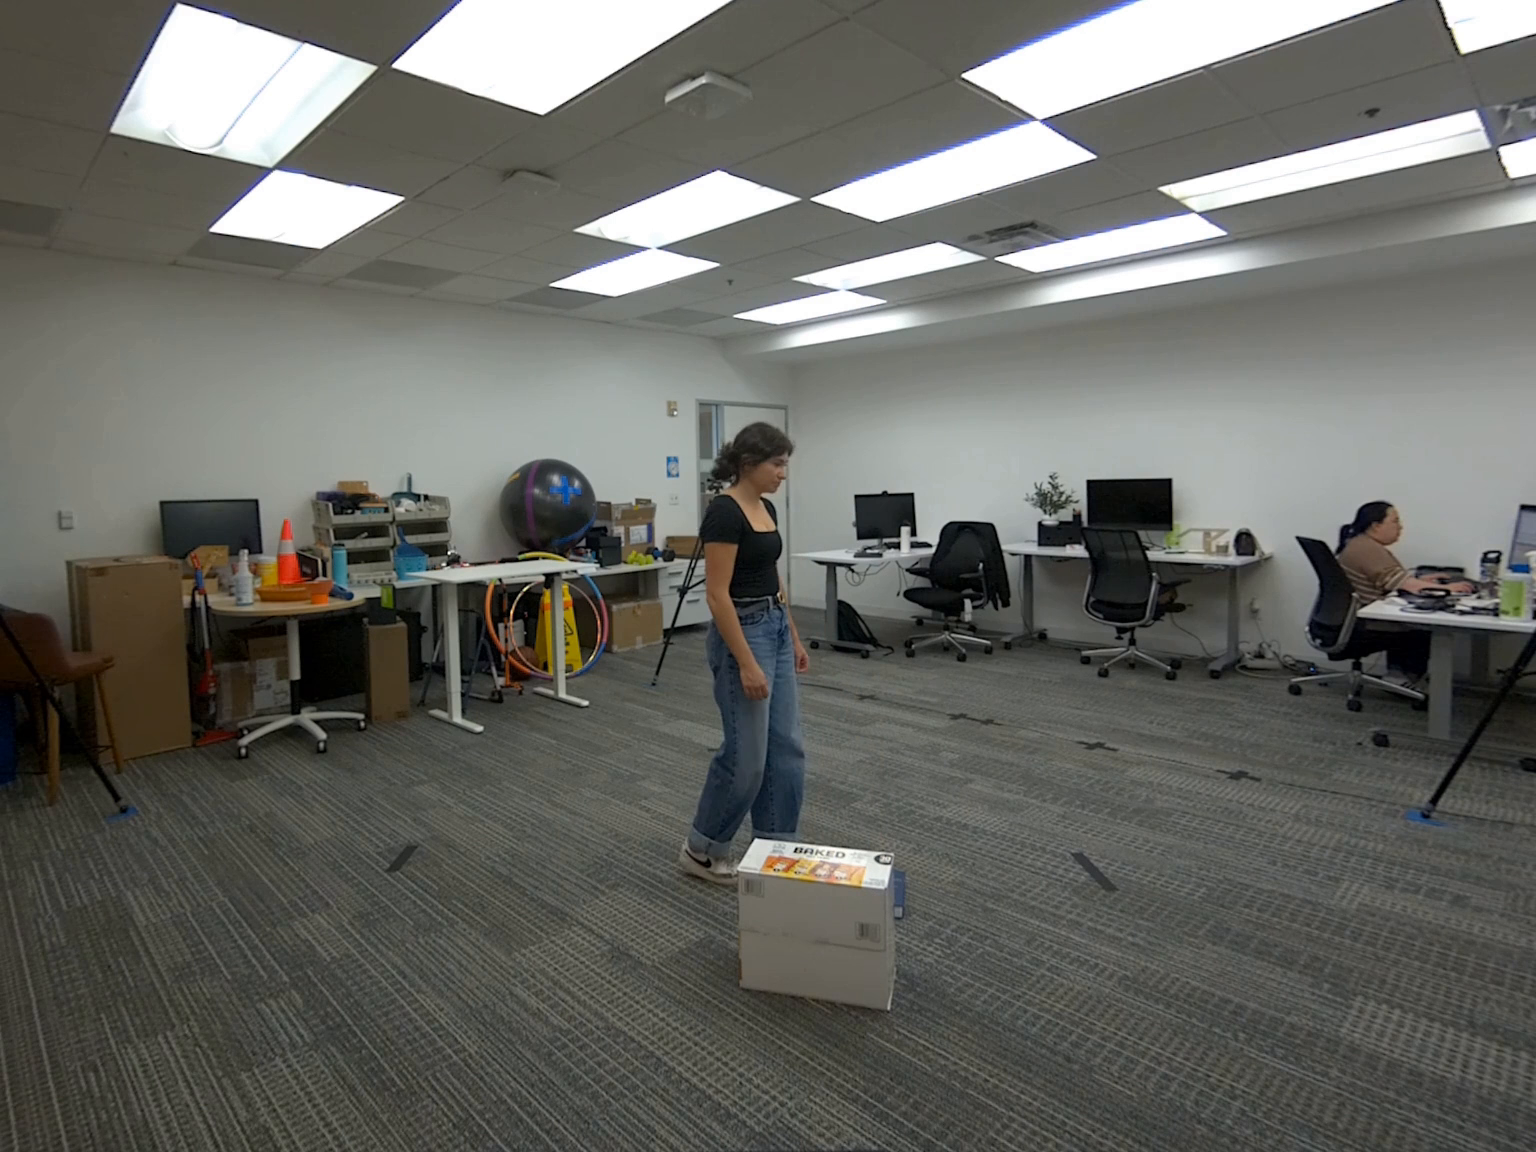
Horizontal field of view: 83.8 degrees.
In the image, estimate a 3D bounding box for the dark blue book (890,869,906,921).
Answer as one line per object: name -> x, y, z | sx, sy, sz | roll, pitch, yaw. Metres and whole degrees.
dark blue book -> 0.374, 1.044, 2.828 | 0.165, 0.045, 0.243 | 1, 6, 12
